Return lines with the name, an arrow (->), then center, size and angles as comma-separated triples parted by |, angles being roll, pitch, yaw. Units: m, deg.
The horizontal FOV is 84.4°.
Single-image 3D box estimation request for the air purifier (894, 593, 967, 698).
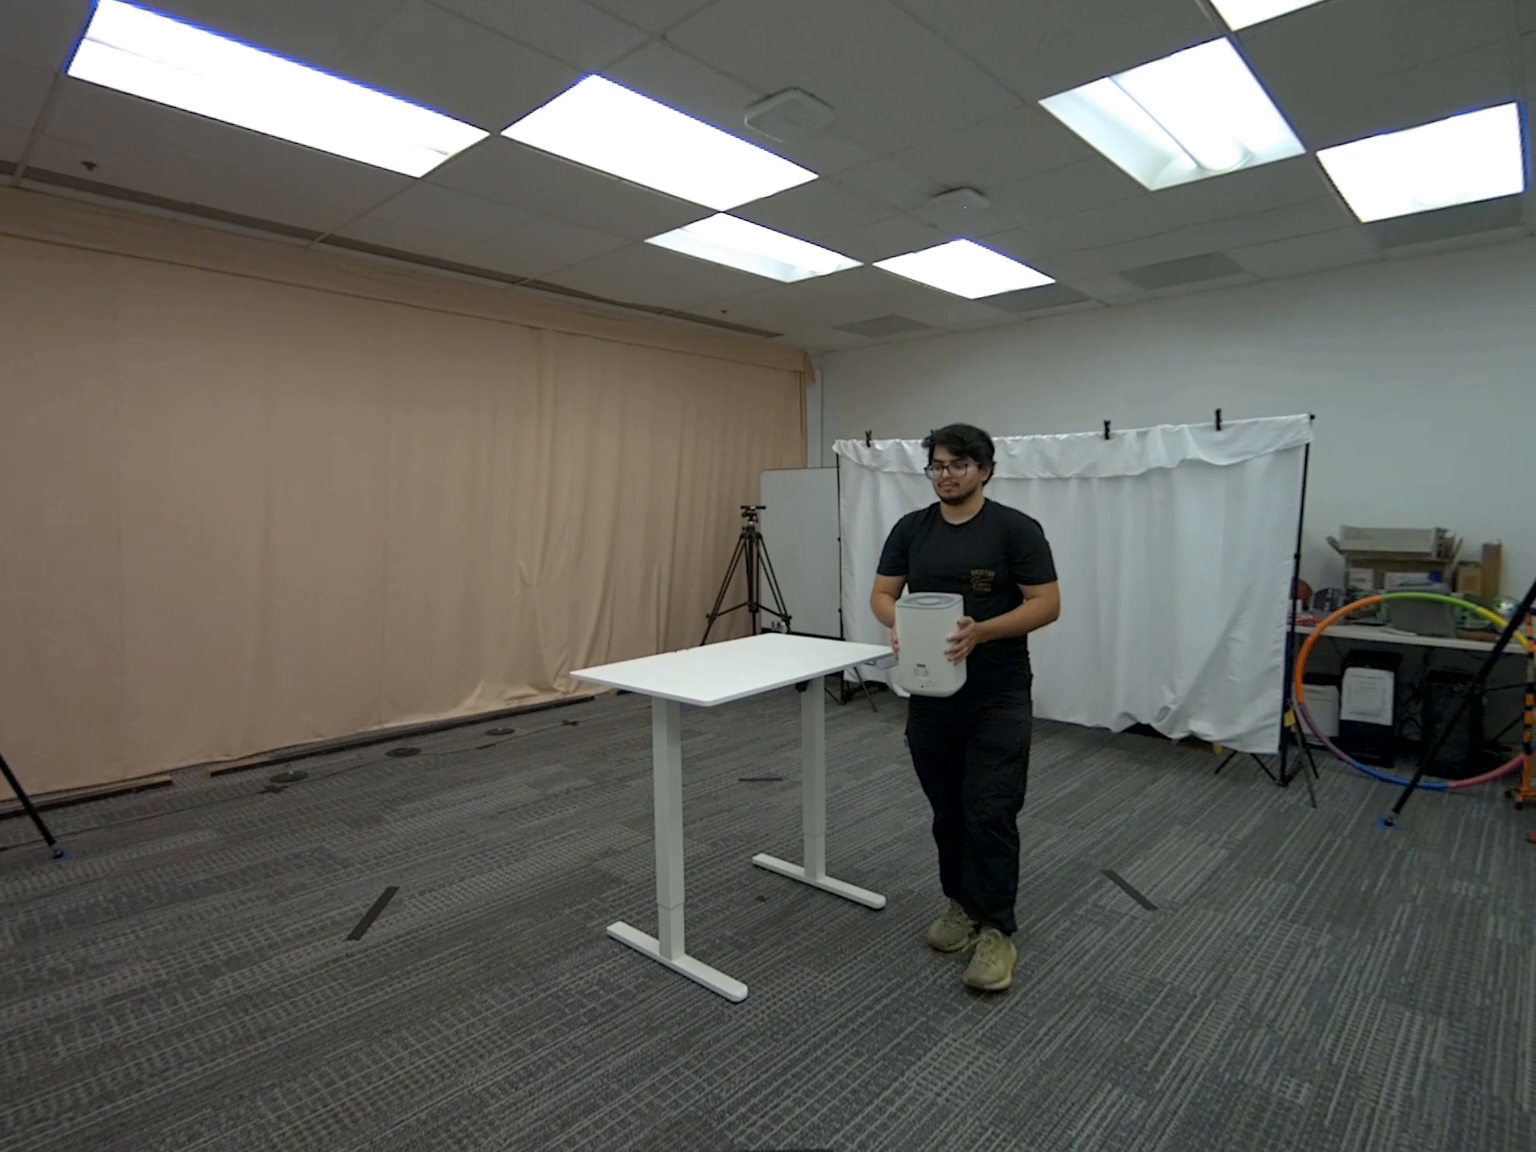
air purifier -> 0.468, 0.198, 2.415 | 0.176, 0.264, 0.168 | 1, 10, 30
